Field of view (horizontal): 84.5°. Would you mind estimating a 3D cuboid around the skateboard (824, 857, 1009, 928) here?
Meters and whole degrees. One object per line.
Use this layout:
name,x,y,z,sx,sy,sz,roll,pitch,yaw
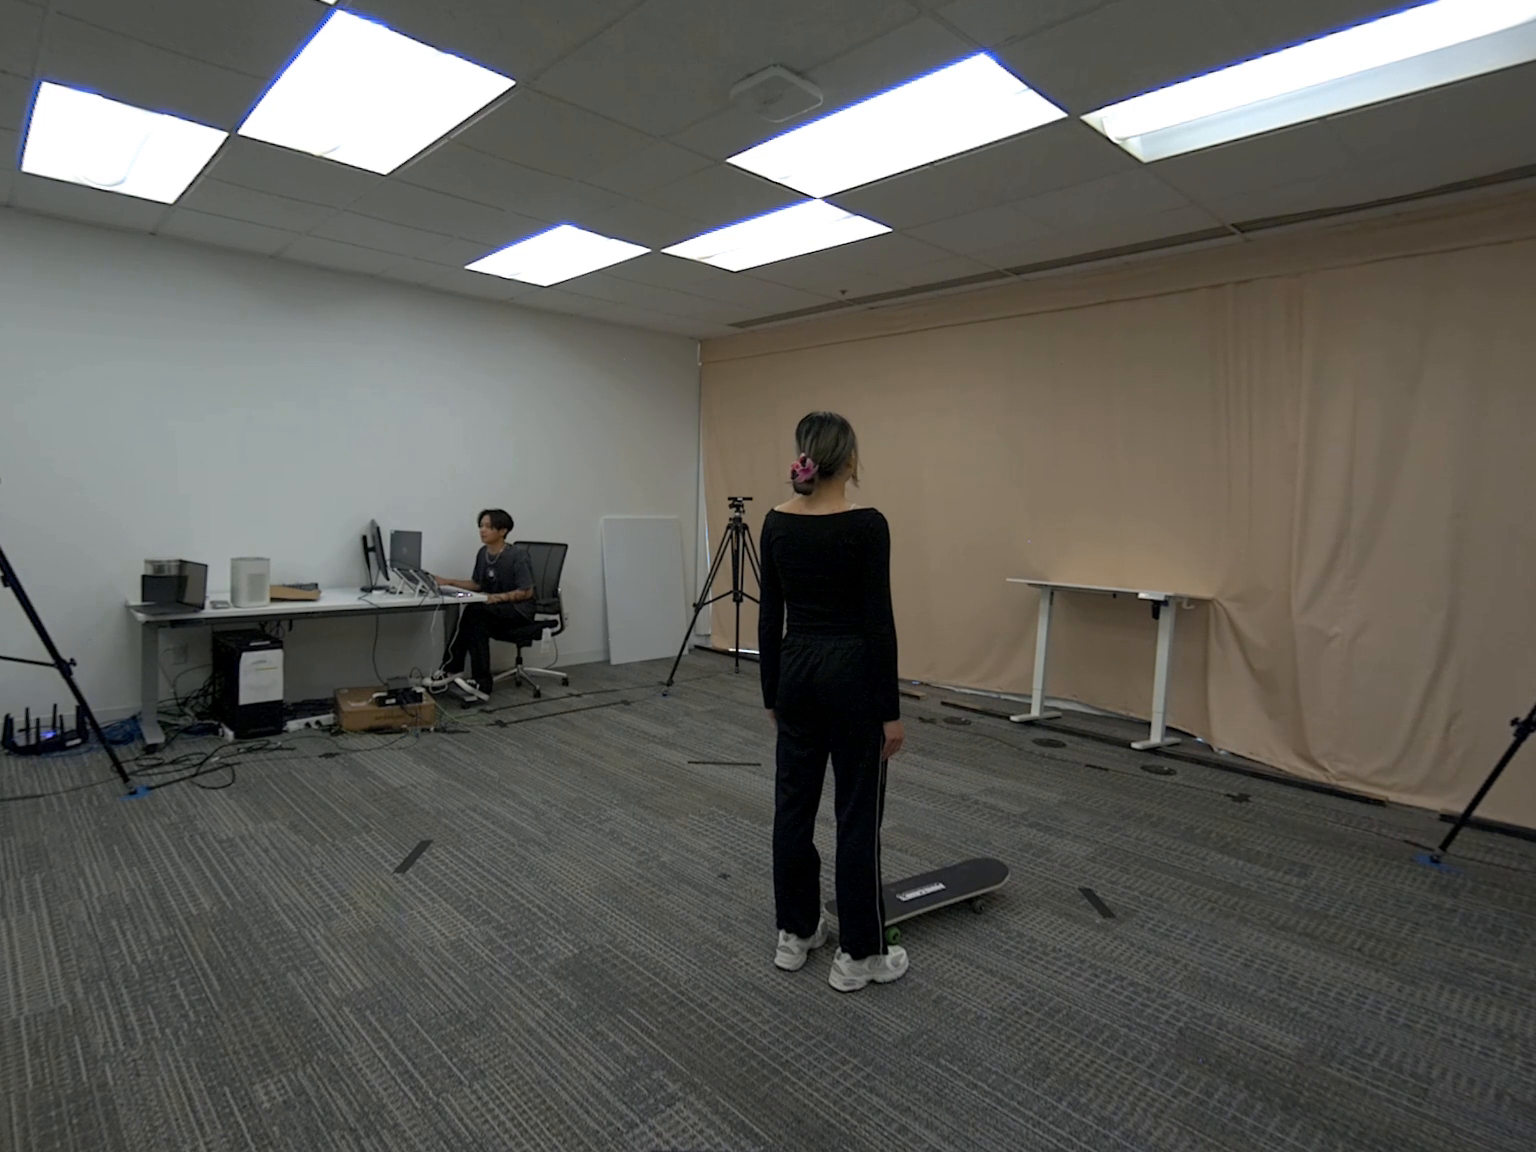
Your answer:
skateboard,0.510,1.089,2.826,0.769,0.110,0.198,-2,7,-33
